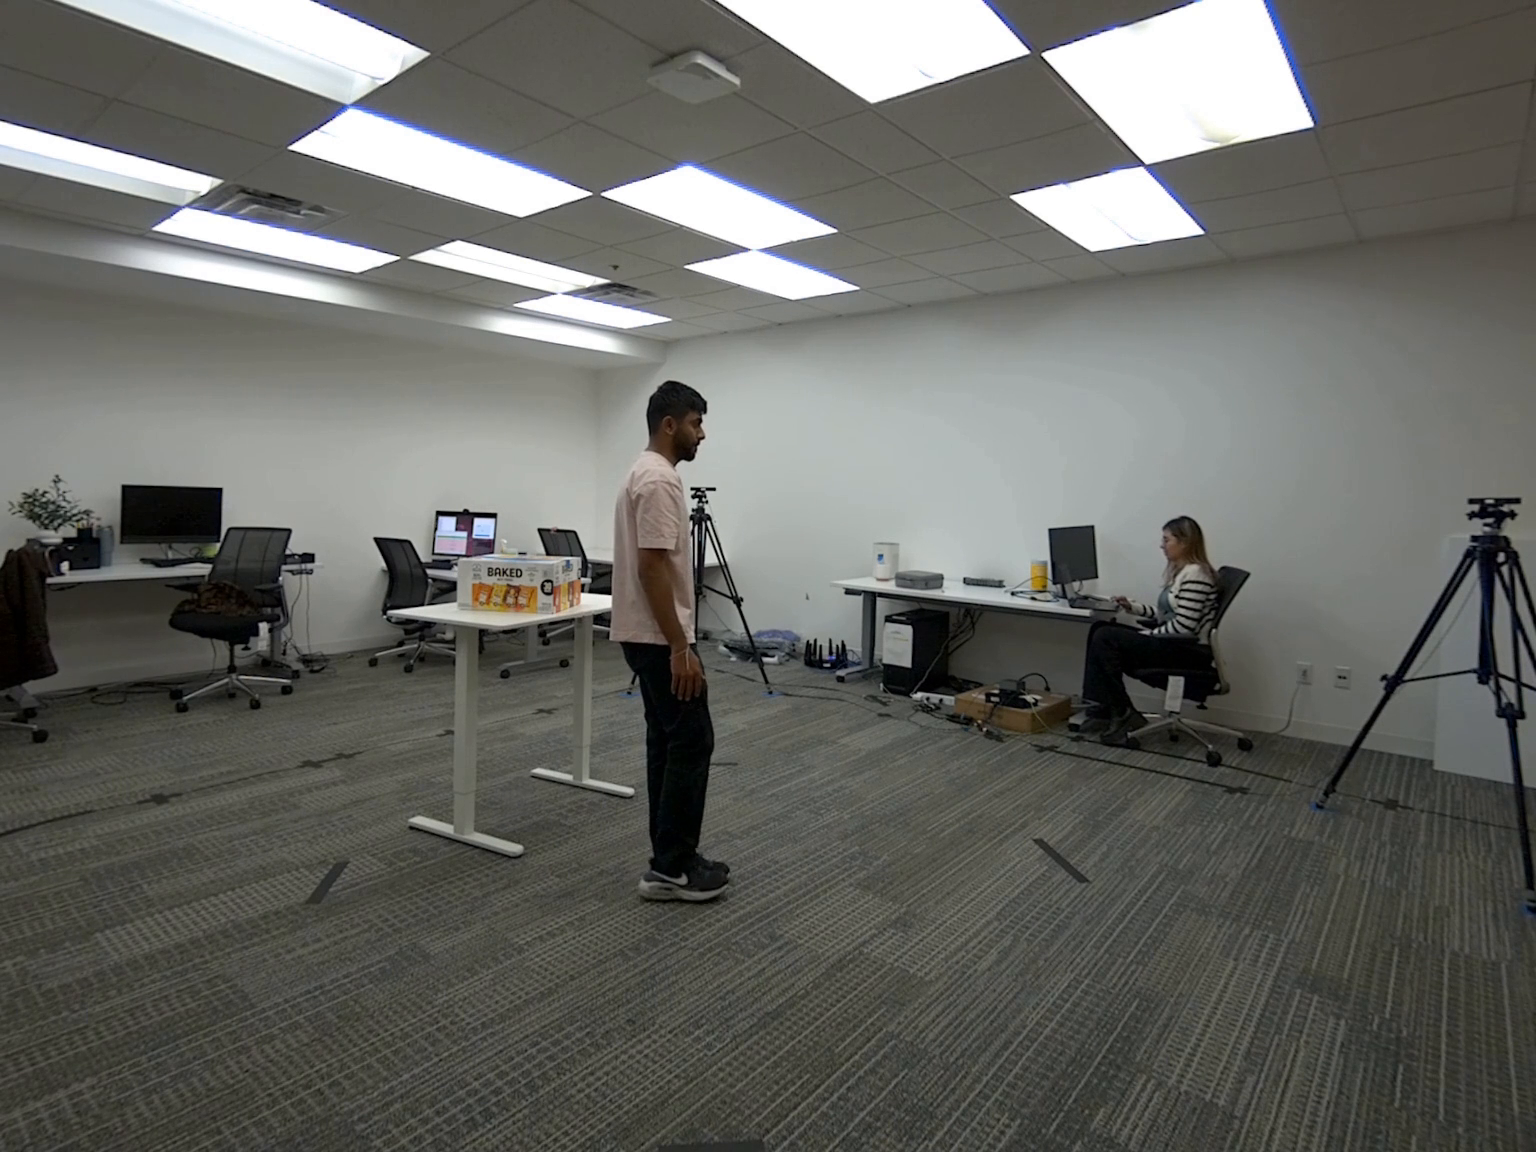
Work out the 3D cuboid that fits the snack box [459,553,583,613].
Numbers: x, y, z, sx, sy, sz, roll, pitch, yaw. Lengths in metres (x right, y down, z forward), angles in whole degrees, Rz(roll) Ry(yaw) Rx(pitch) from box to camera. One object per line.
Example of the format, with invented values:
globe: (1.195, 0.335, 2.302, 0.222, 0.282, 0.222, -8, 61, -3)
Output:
snack box: (-1.034, 0.022, 3.542, 0.409, 0.205, 0.338, 2, 4, 8)
